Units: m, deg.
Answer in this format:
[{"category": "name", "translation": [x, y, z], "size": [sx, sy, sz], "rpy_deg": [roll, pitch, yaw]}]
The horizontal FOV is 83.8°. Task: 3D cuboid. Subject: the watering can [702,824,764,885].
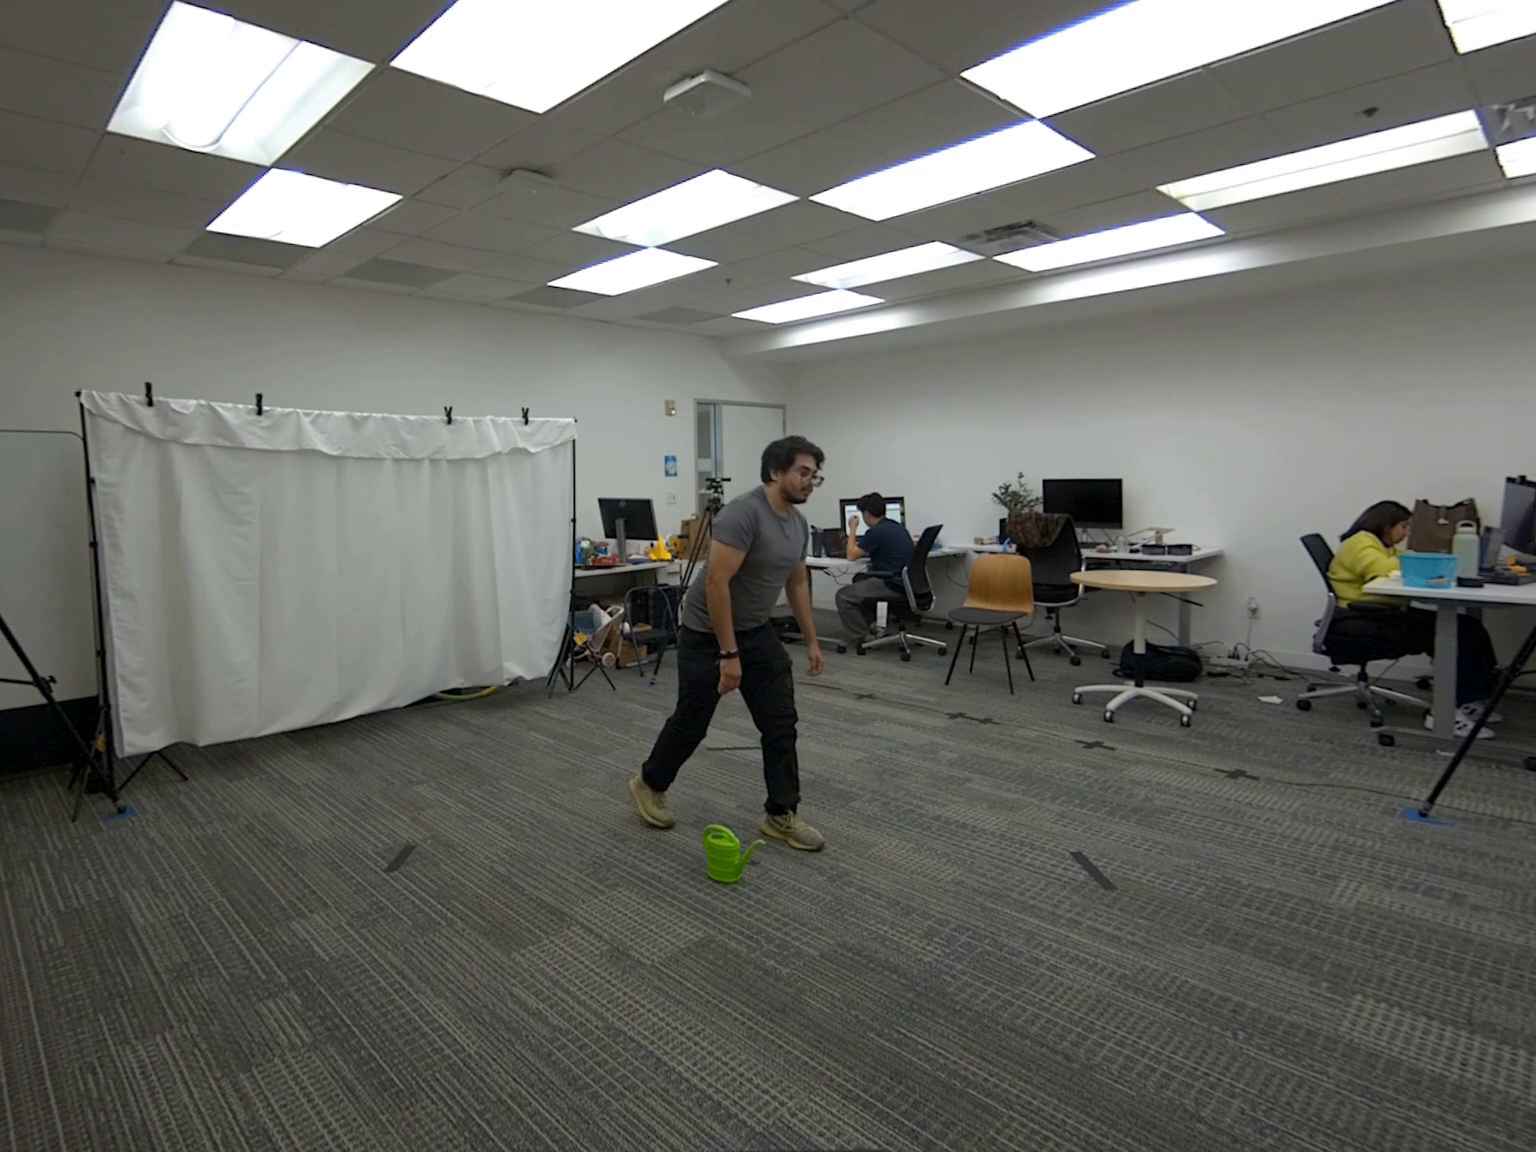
[{"category": "watering can", "translation": [-0.128, 0.969, 2.958], "size": [0.095, 0.176, 0.286], "rpy_deg": [-6, 6, -35]}]
